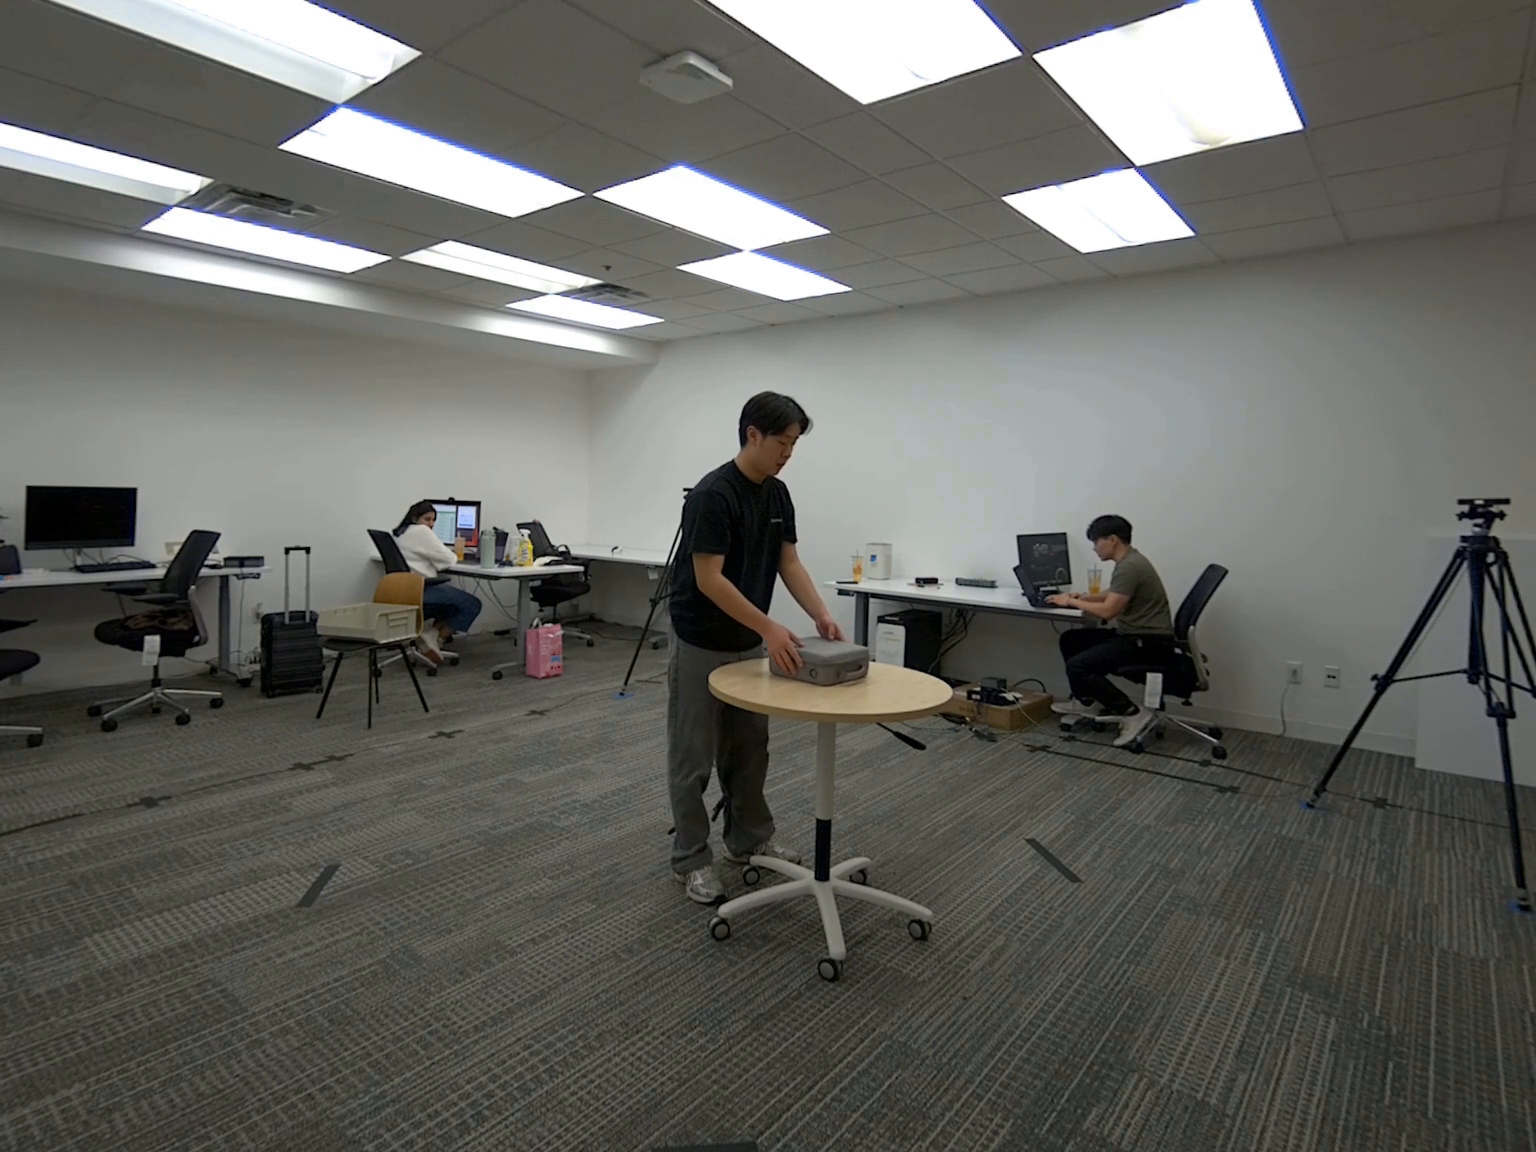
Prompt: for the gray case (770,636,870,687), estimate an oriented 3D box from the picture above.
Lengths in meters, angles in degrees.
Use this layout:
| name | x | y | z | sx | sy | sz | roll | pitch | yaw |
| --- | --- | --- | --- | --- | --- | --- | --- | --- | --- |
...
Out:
| name | x | y | z | sx | sy | sz | roll | pitch | yaw |
| --- | --- | --- | --- | --- | --- | --- | --- | --- | --- |
| gray case | 0.174 | 0.276 | 2.784 | 0.297 | 0.102 | 0.255 | 8 | 9 | 43 |
